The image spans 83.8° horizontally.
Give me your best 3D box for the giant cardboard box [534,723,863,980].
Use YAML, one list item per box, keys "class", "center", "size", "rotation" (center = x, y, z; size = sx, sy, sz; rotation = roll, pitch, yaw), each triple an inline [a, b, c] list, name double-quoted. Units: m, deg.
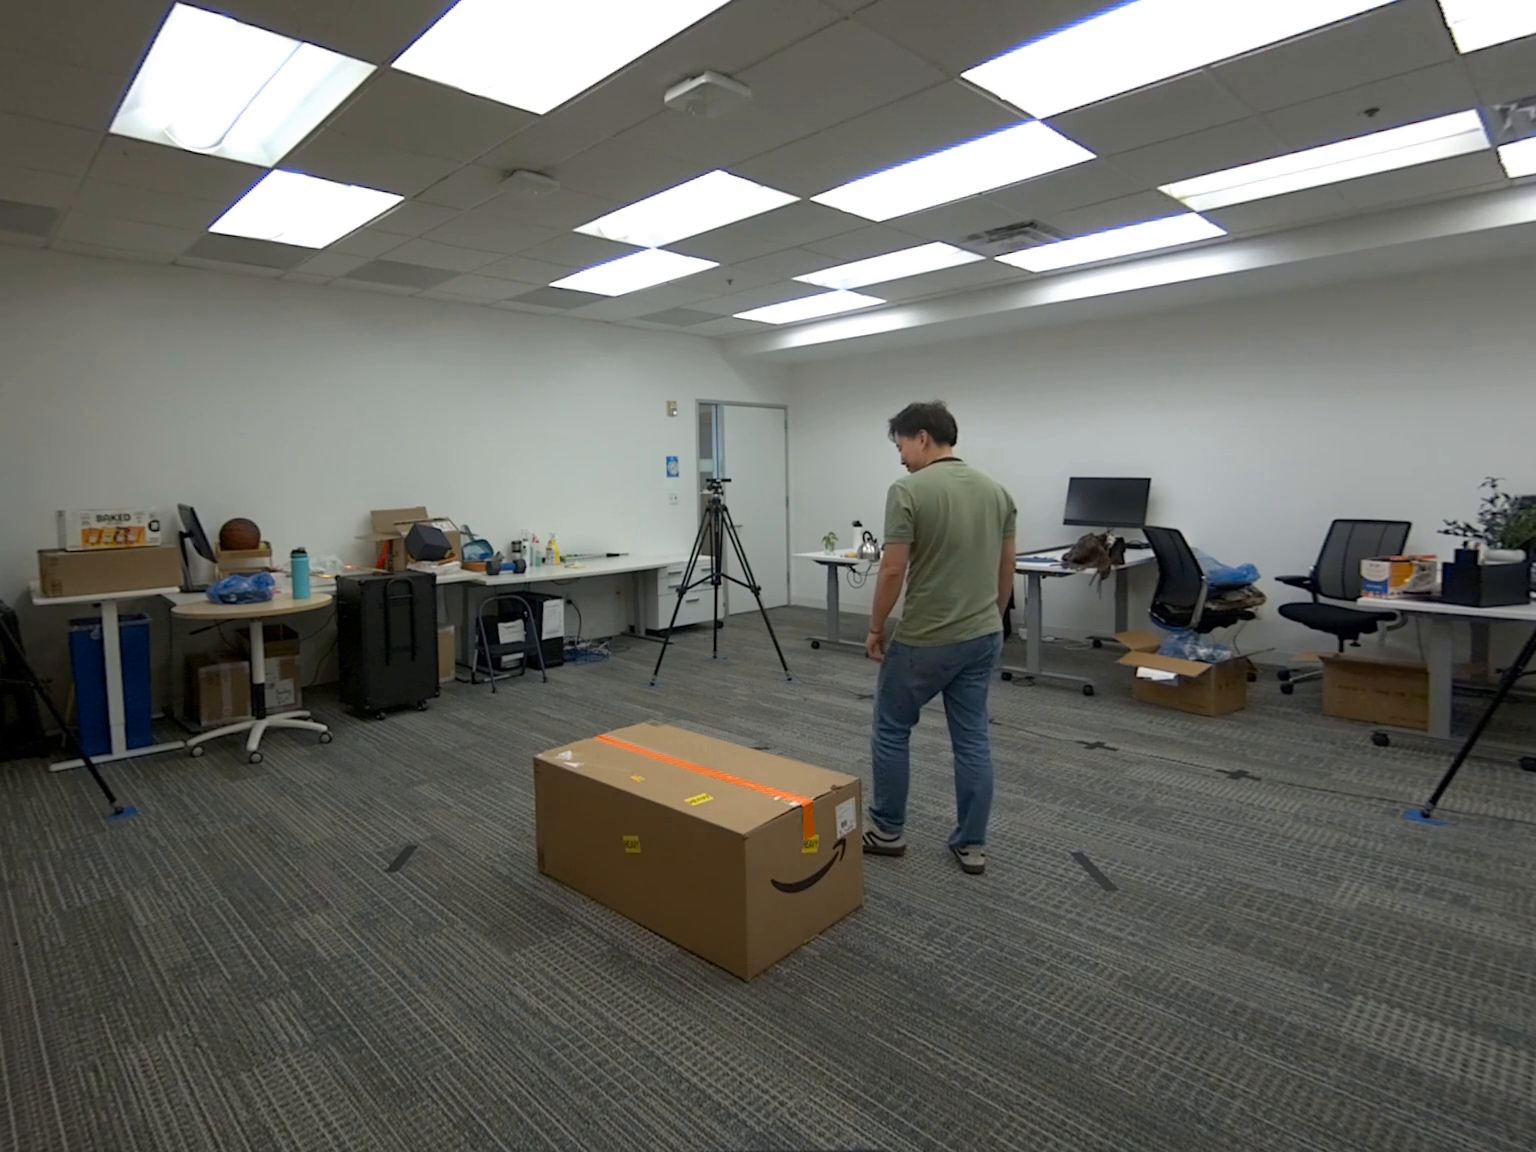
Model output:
- class: "giant cardboard box"
  center: [-0.263, 0.856, 2.917]
  size: [1.057, 0.424, 0.563]
  rotation: [5, 9, 42]
